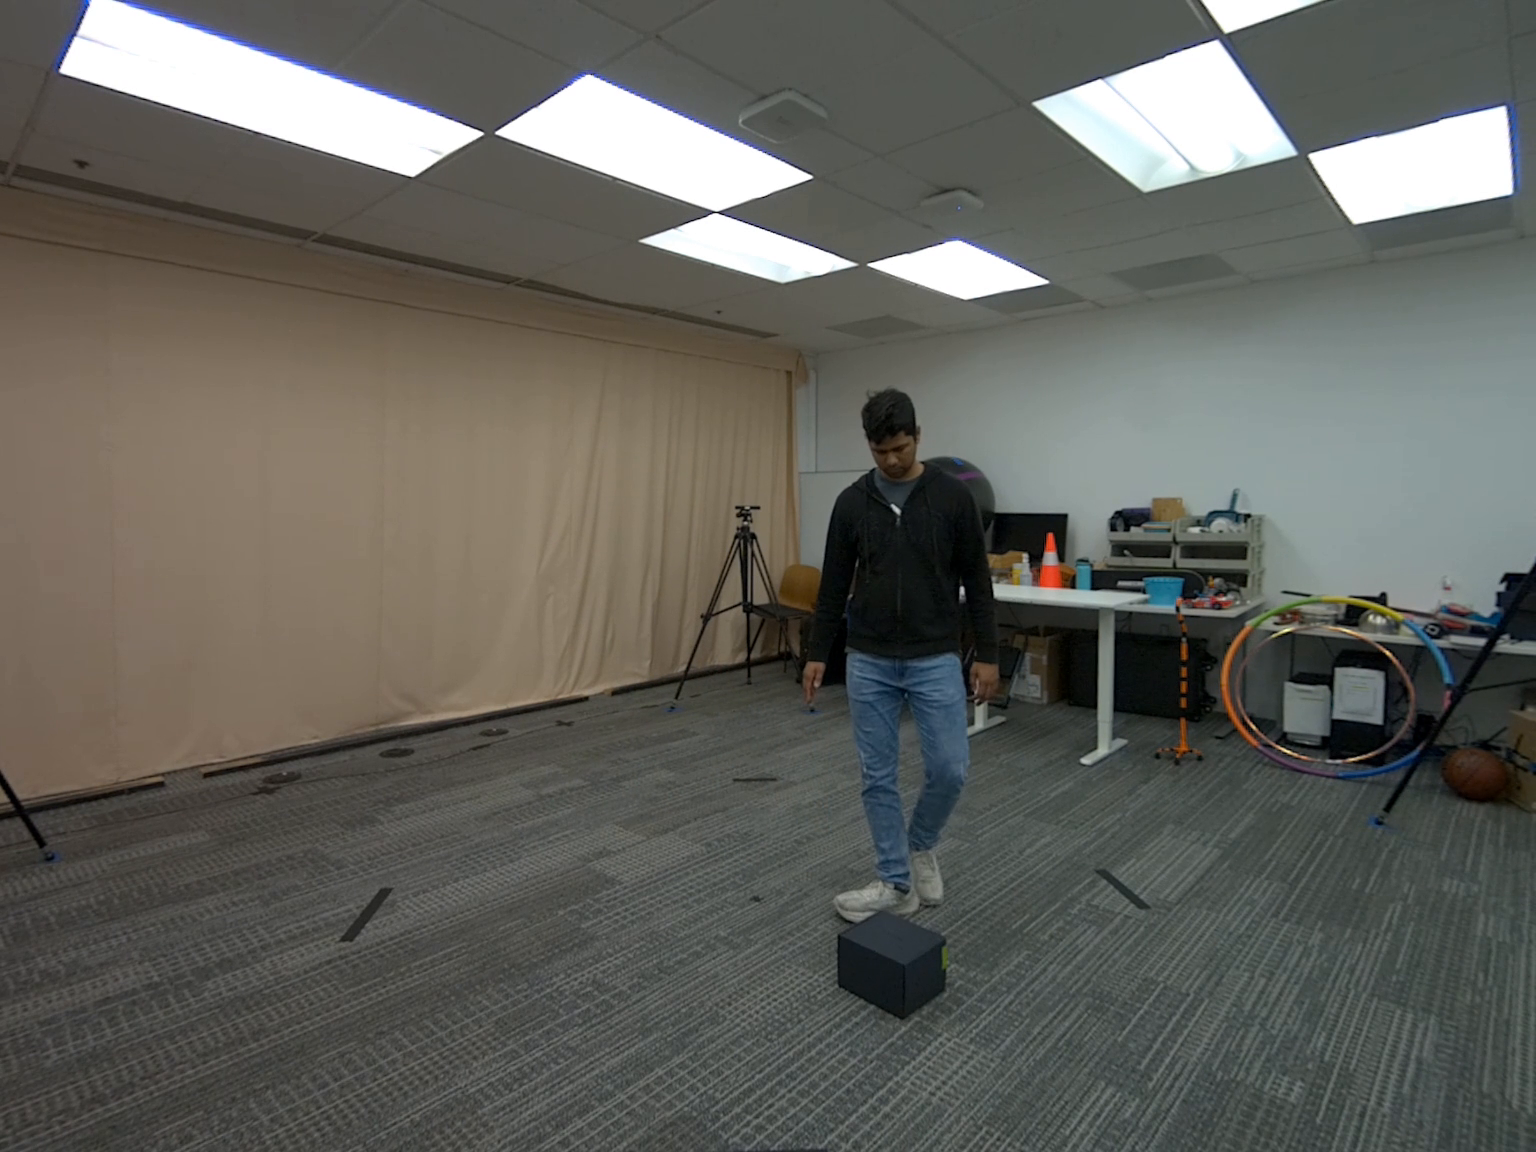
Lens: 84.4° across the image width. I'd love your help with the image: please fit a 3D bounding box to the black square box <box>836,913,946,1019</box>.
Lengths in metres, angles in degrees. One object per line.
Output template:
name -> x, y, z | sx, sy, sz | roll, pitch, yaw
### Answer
black square box -> 0.363, 1.110, 2.422 | 0.235, 0.155, 0.210 | 4, 5, 45
